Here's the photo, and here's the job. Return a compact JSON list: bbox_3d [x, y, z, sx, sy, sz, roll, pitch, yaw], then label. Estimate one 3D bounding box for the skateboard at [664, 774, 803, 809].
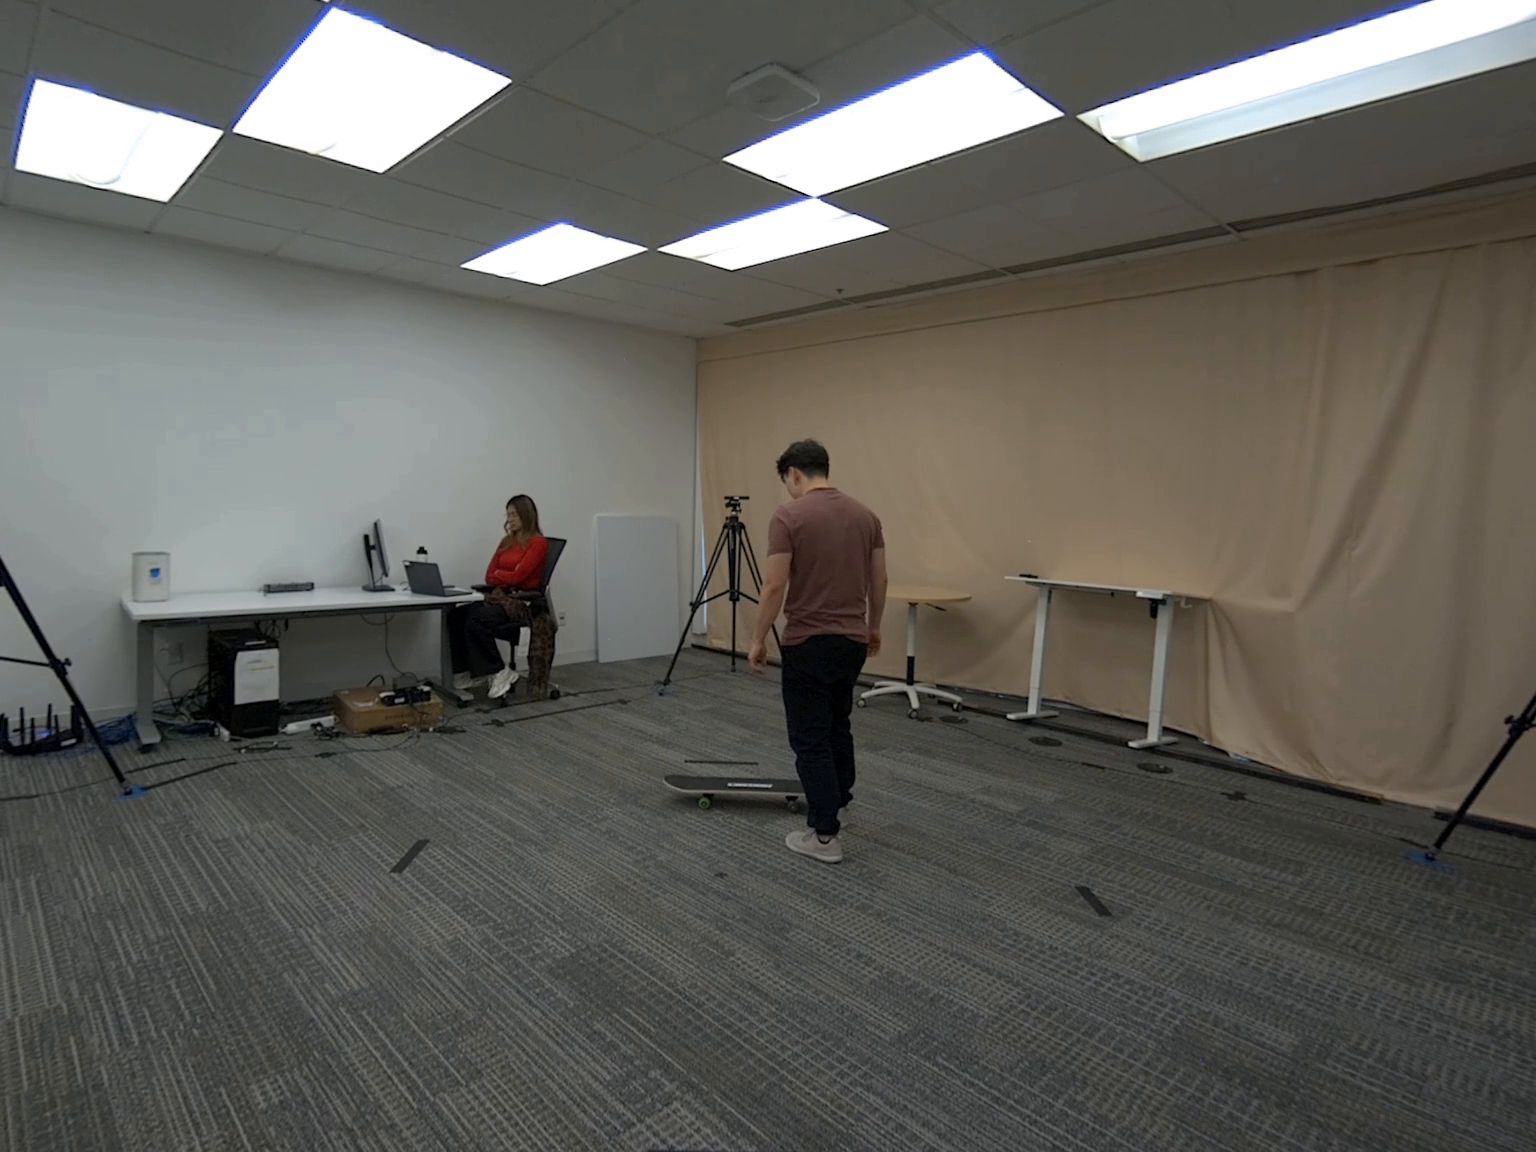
[{"bbox_3d":[-0.090,0.980,3.826,0.788,0.110,0.193,1,5,4],"label":"skateboard"}]
